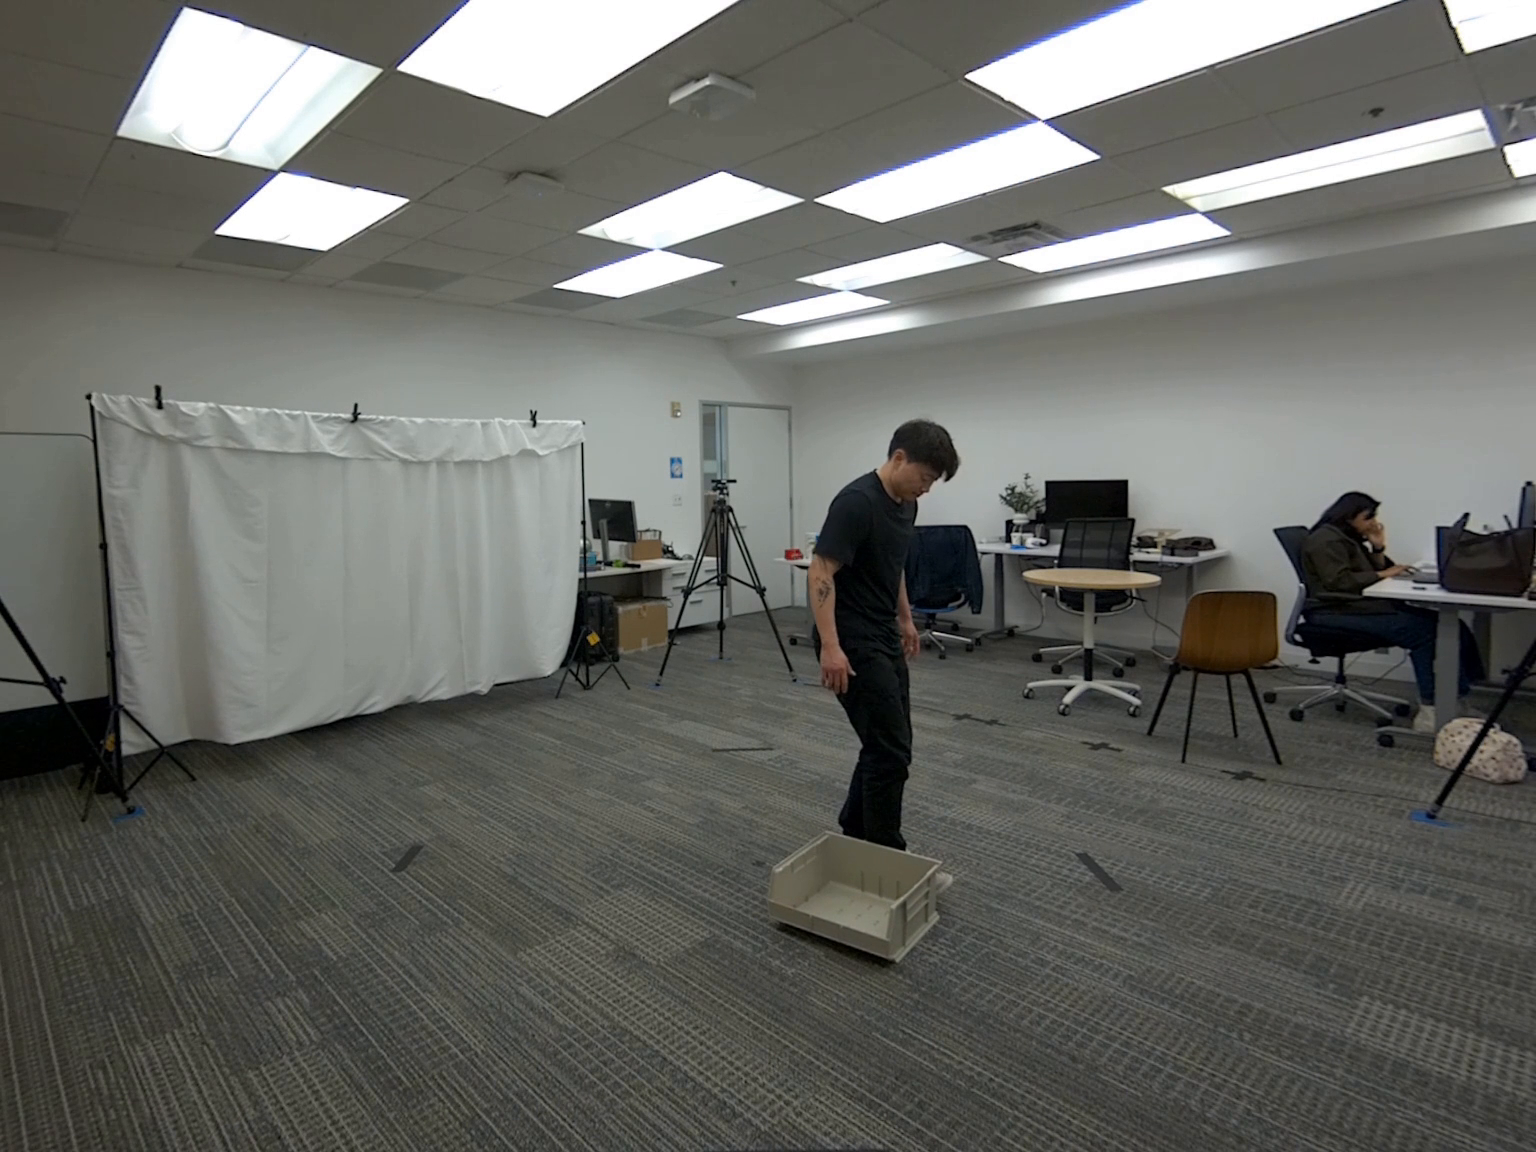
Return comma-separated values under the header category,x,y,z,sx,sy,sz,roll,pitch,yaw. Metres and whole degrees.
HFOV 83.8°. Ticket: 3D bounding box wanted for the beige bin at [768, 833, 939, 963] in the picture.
category,x,y,z,sx,sy,sz,roll,pitch,yaw
beige bin,0.278,1.001,2.677,0.434,0.188,0.368,2,5,35
